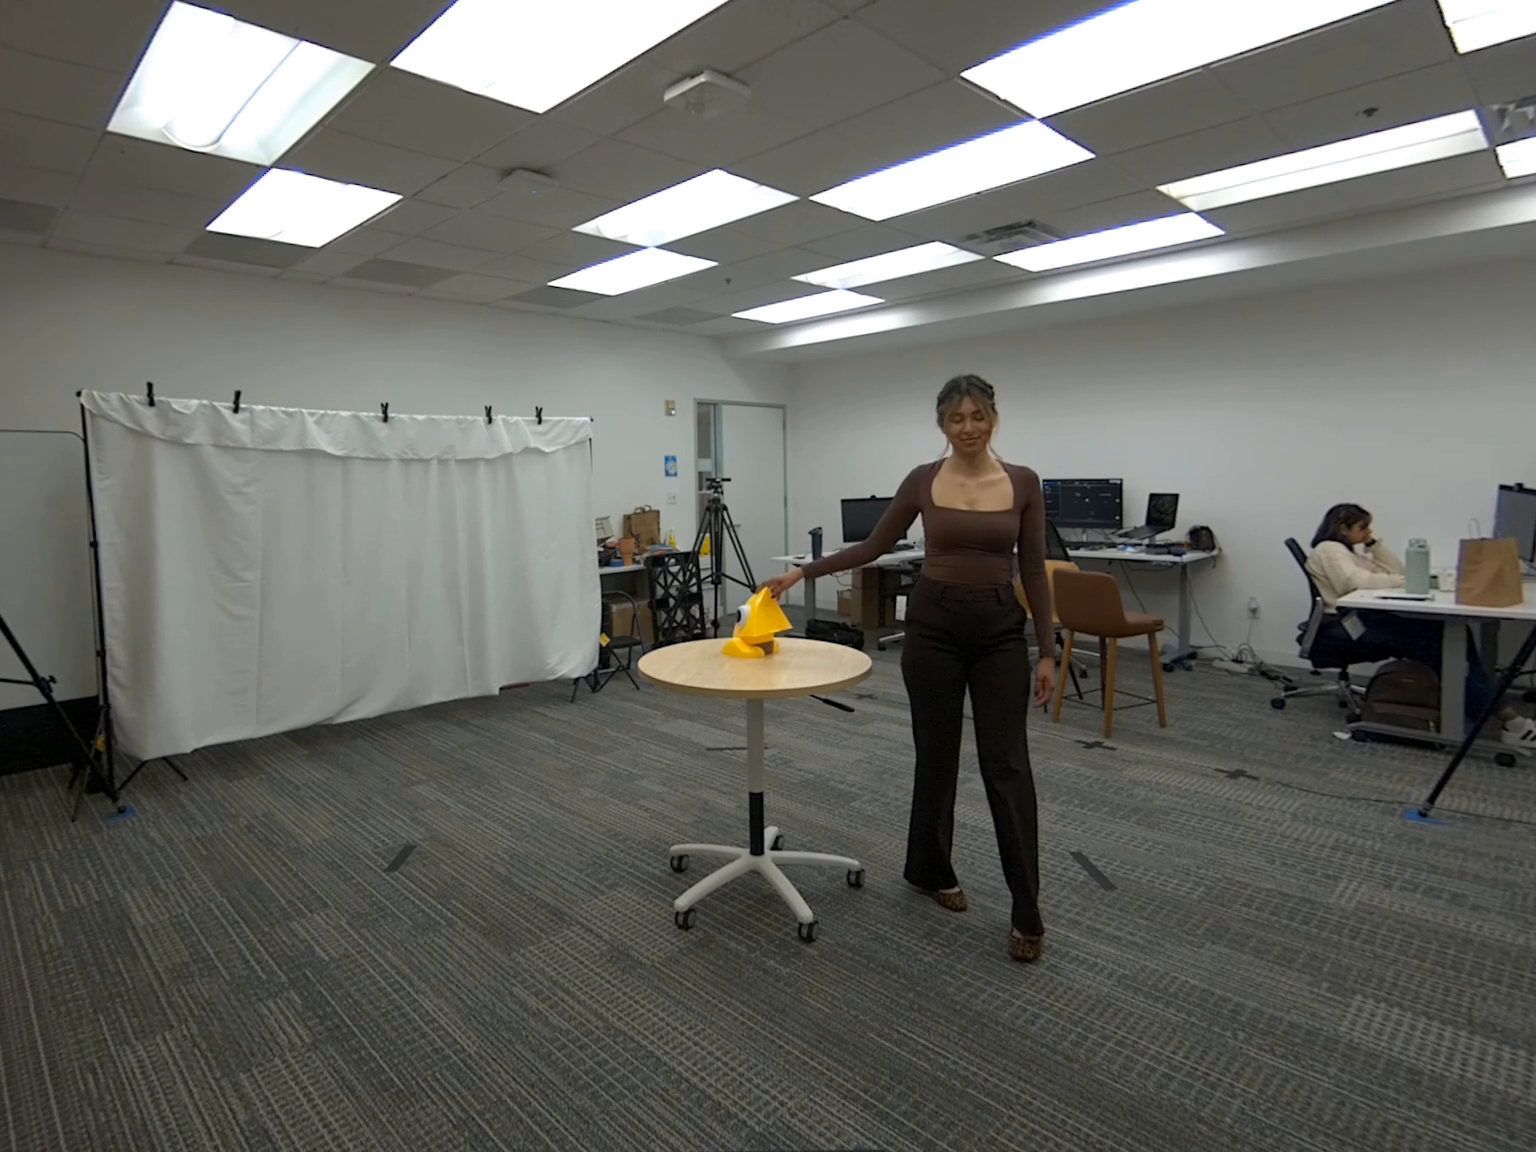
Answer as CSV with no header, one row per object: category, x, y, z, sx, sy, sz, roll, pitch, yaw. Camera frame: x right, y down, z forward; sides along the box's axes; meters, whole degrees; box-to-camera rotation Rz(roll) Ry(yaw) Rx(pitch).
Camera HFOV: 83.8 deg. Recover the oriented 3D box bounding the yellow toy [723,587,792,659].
yellow toy,-0.046,0.146,2.942,0.199,0.230,0.199,5,7,40
